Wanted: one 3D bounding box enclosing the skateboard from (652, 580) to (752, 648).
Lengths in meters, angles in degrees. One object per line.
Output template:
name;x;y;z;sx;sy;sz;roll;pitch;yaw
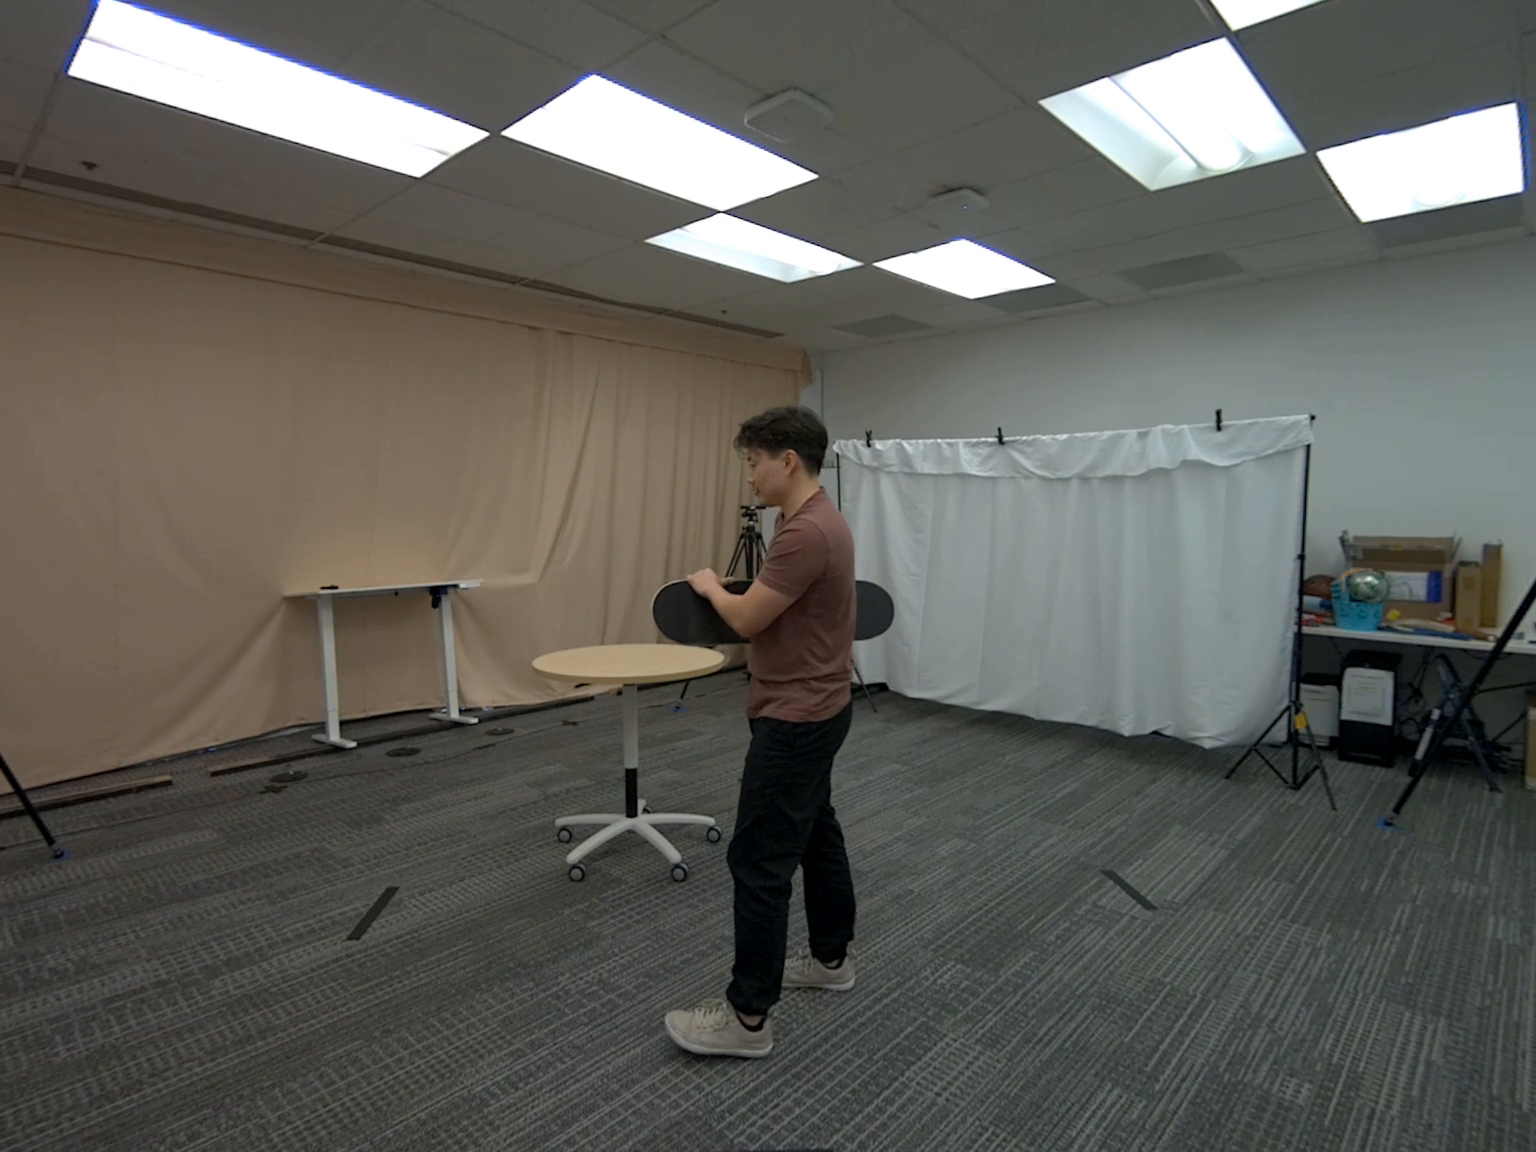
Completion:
skateboard;0.017;0.118;2.536;0.770;0.195;0.111;-1;-15;-20
